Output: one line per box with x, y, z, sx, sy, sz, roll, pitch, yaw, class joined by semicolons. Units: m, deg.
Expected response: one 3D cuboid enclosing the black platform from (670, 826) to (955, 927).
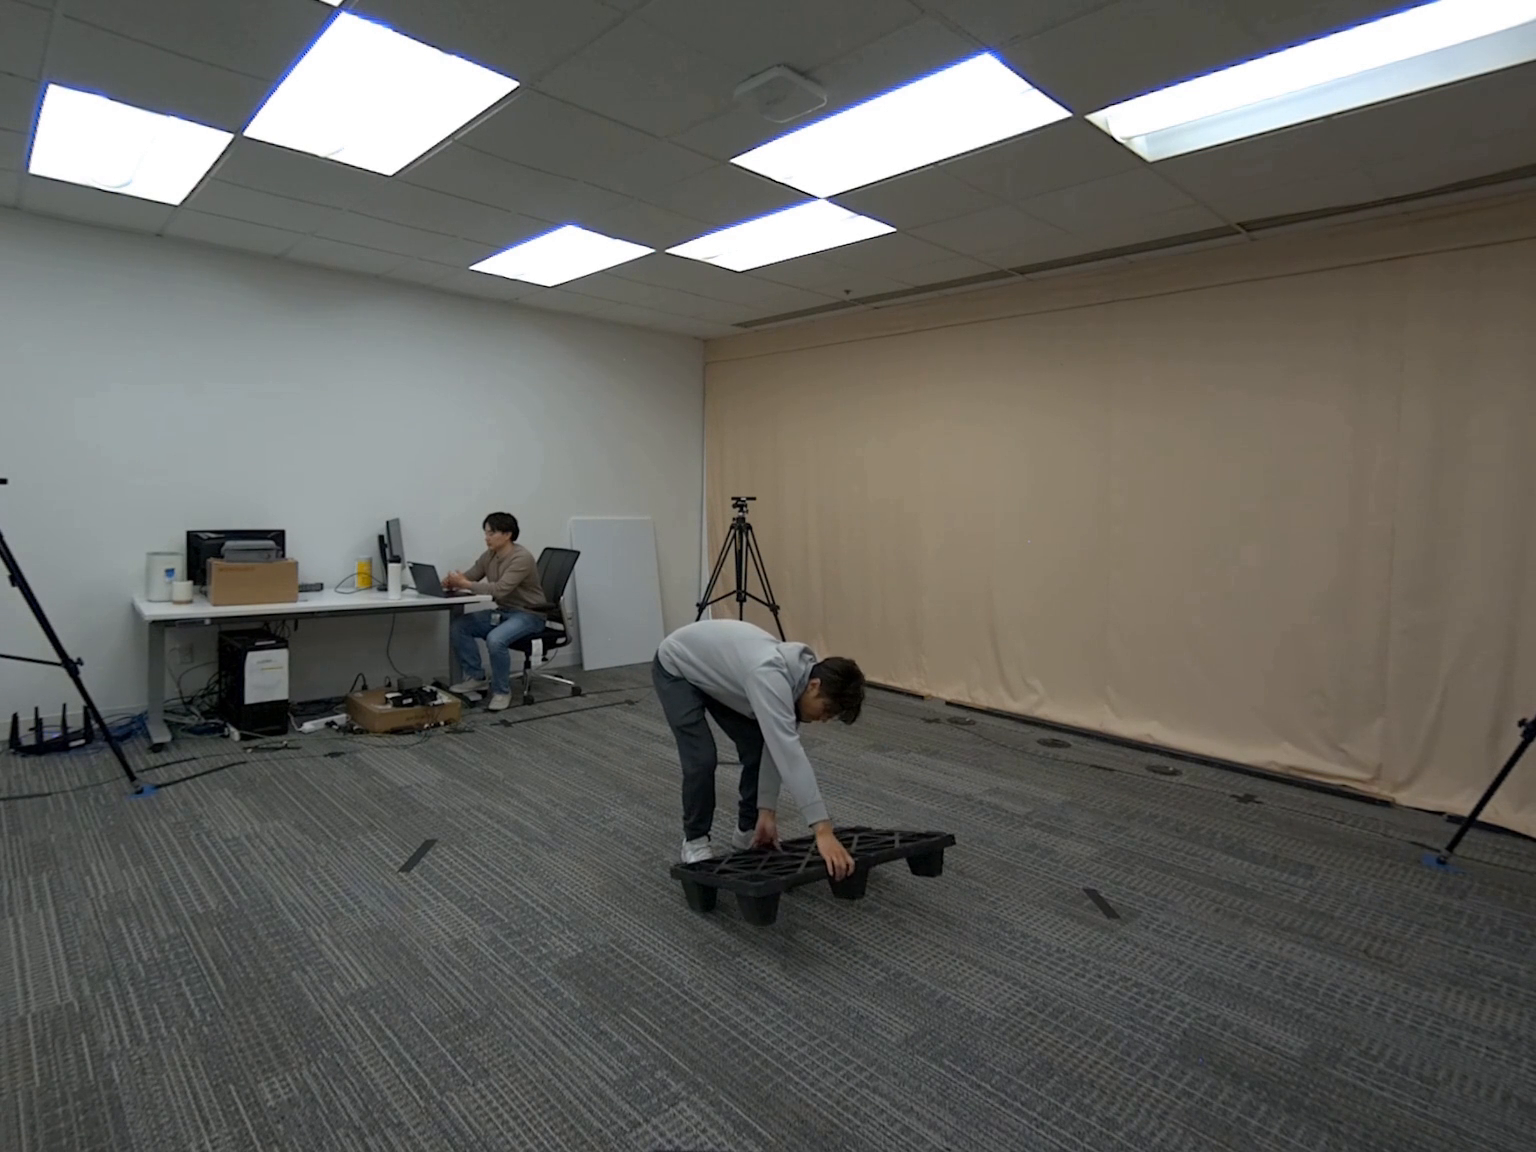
0.151;1.007;2.861;0.789;0.145;0.612;-2;-12;-33;black platform
